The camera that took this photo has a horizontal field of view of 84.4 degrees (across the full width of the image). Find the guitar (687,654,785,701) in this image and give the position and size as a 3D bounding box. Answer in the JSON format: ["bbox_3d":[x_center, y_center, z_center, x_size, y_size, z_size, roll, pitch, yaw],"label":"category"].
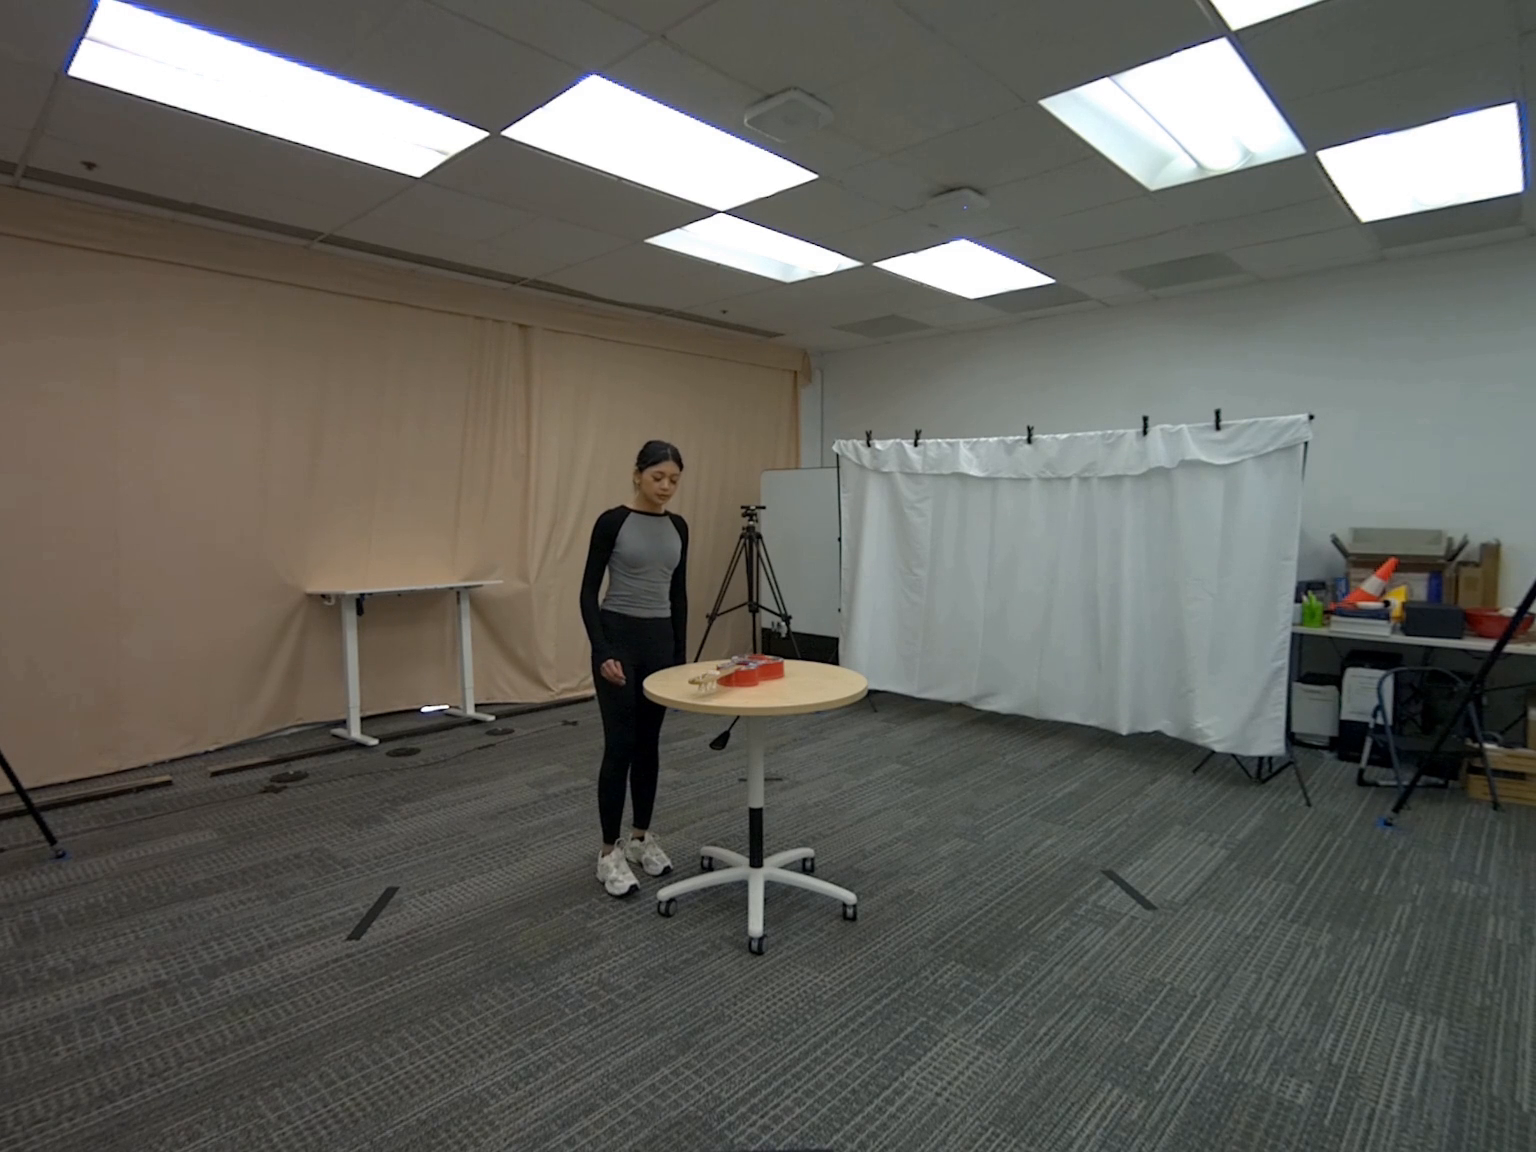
[{"bbox_3d":[-0.137,0.333,2.833,0.199,0.070,0.484,2,6,35],"label":"guitar"}]
